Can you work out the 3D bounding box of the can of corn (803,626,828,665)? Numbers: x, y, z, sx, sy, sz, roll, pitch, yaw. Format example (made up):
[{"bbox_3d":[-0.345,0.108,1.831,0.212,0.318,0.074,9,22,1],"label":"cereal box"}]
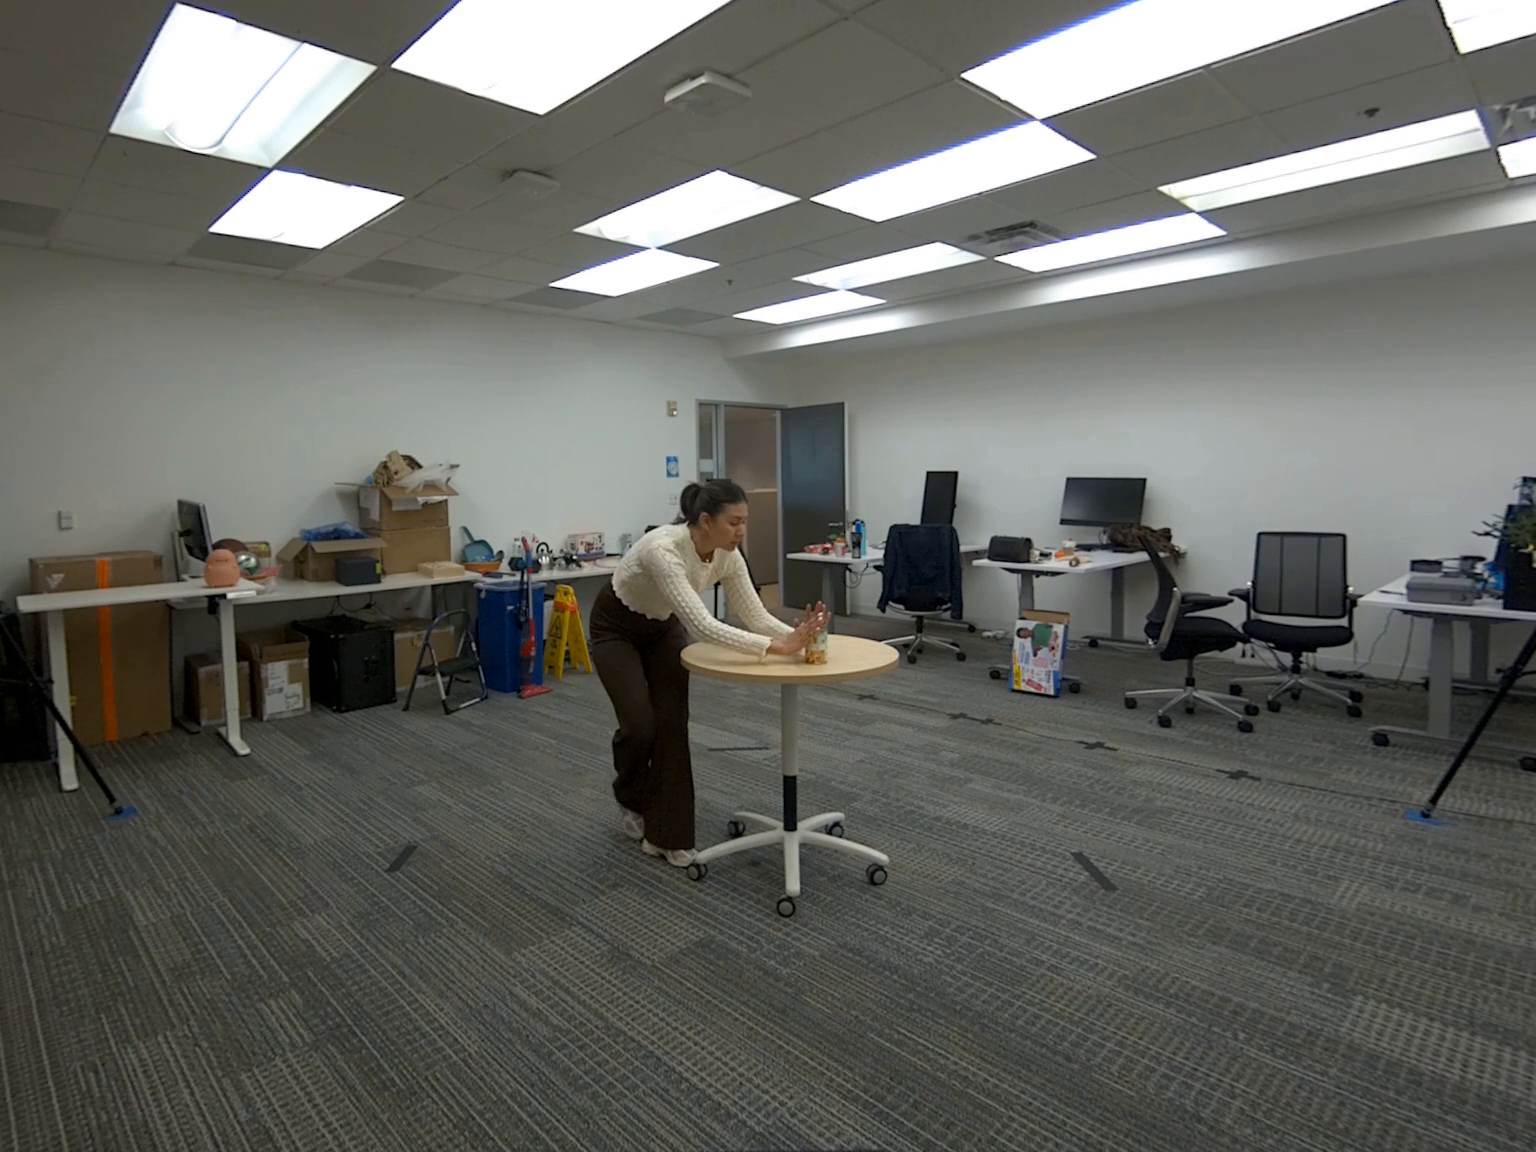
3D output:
[{"bbox_3d":[0.149,0.236,2.837,0.074,0.111,0.074,-4,1,-2],"label":"can of corn"}]
